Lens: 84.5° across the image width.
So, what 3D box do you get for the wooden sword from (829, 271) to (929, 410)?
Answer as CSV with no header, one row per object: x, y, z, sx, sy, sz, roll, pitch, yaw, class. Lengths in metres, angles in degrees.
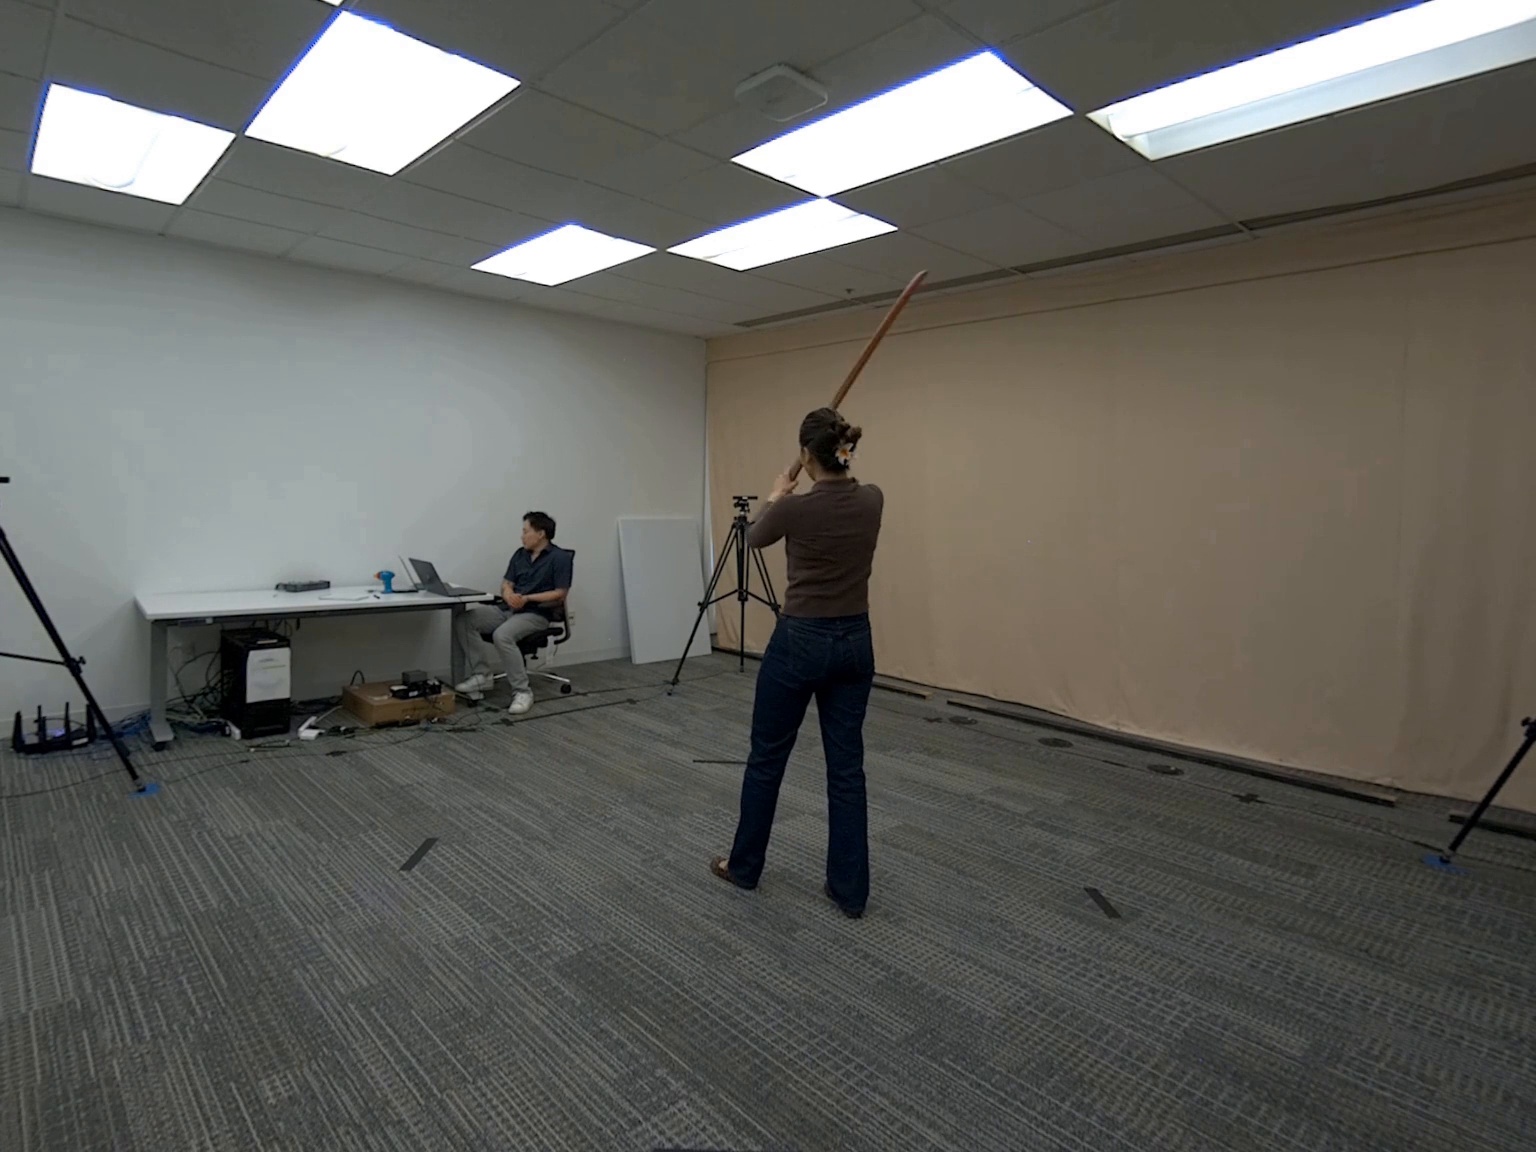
0.302,-0.714,3.201,0.024,1.024,0.051,34,0,4,wooden sword
